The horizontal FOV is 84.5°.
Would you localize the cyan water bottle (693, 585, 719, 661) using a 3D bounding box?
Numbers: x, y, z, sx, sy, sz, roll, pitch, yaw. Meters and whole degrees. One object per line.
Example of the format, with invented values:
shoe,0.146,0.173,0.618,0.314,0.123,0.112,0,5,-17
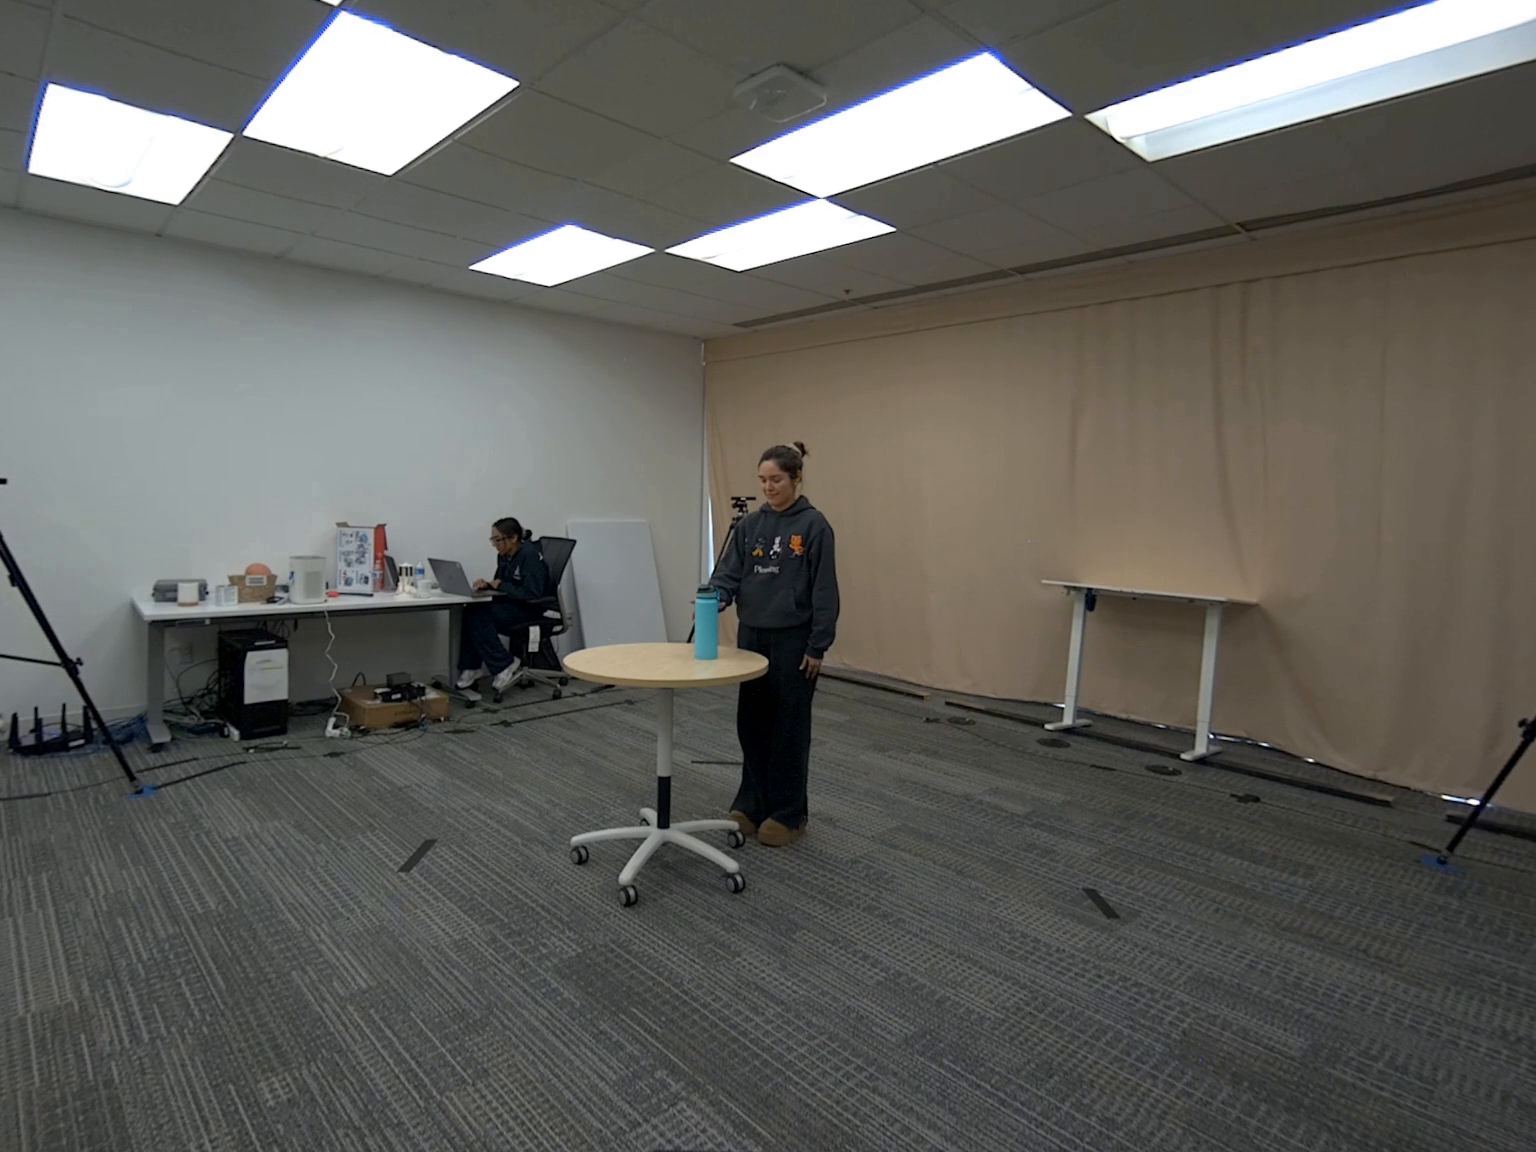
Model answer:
cyan water bottle,-0.242,0.176,3.211,0.092,0.283,0.092,4,2,-2
